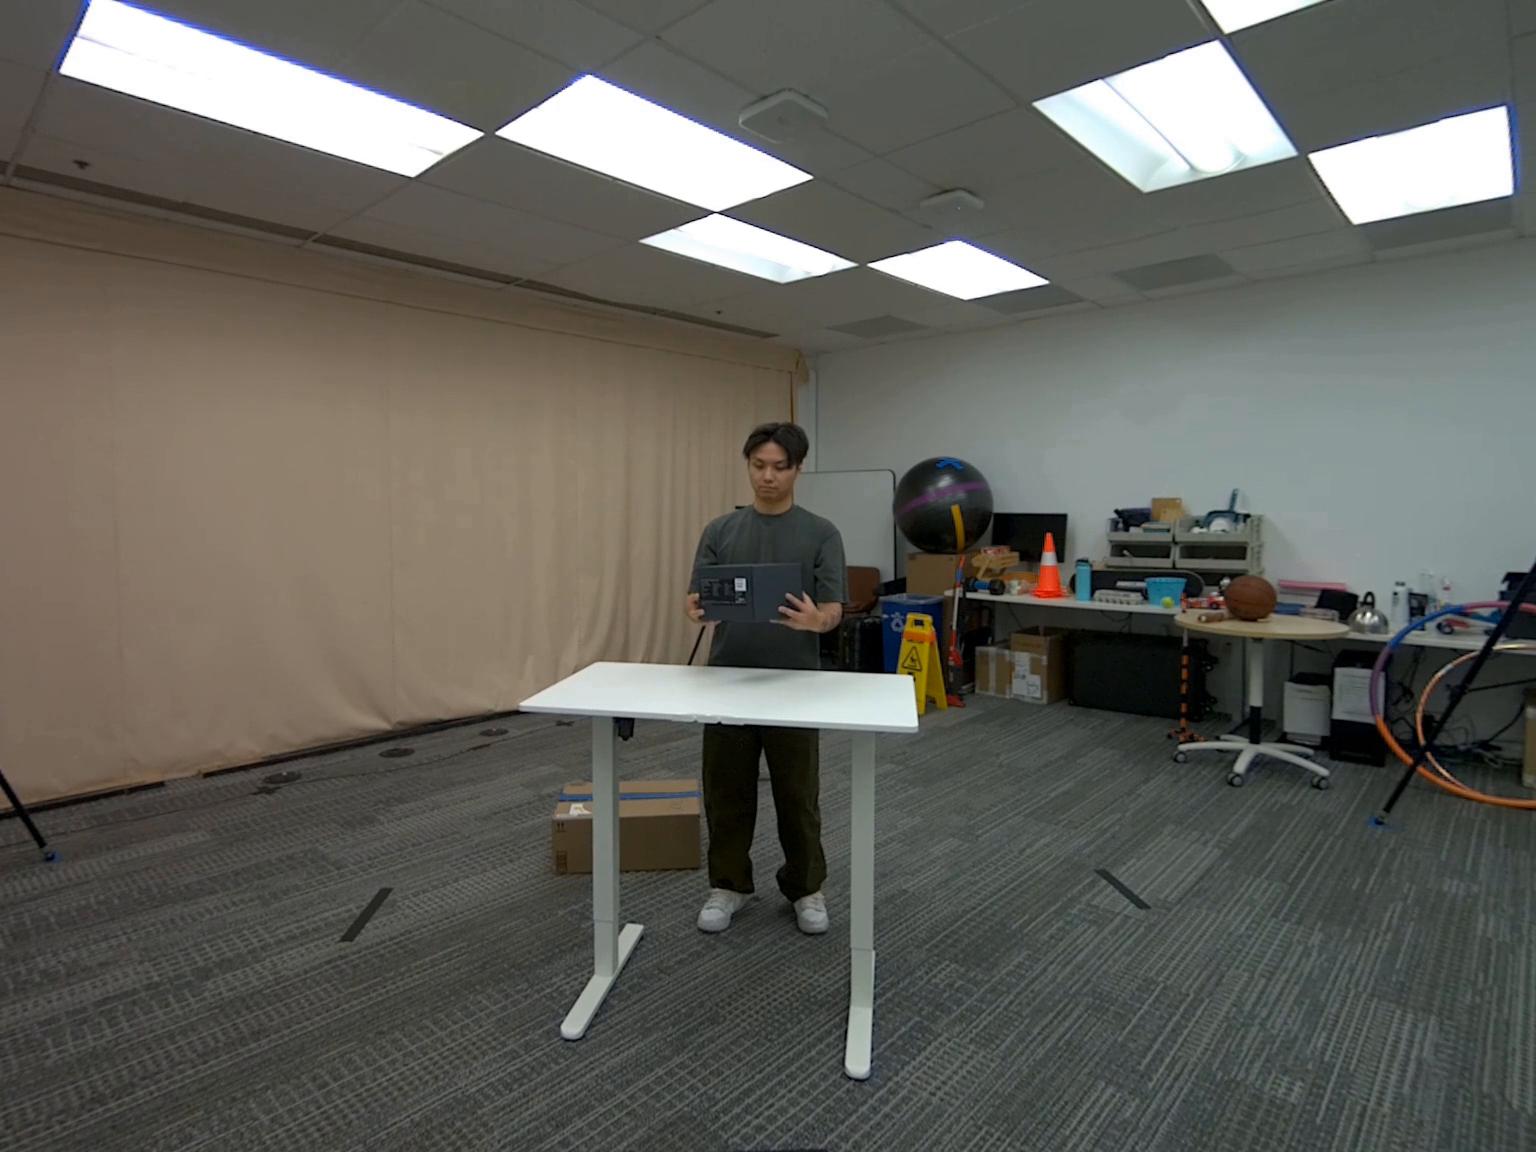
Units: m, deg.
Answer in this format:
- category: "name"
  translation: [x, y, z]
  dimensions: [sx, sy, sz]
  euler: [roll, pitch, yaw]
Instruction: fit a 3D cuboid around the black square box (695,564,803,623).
- category: "black square box"
  translation: [-0.050, 0.044, 2.461]
  dimensions: [0.224, 0.156, 0.221]
  euler: [-1, 1, 41]
